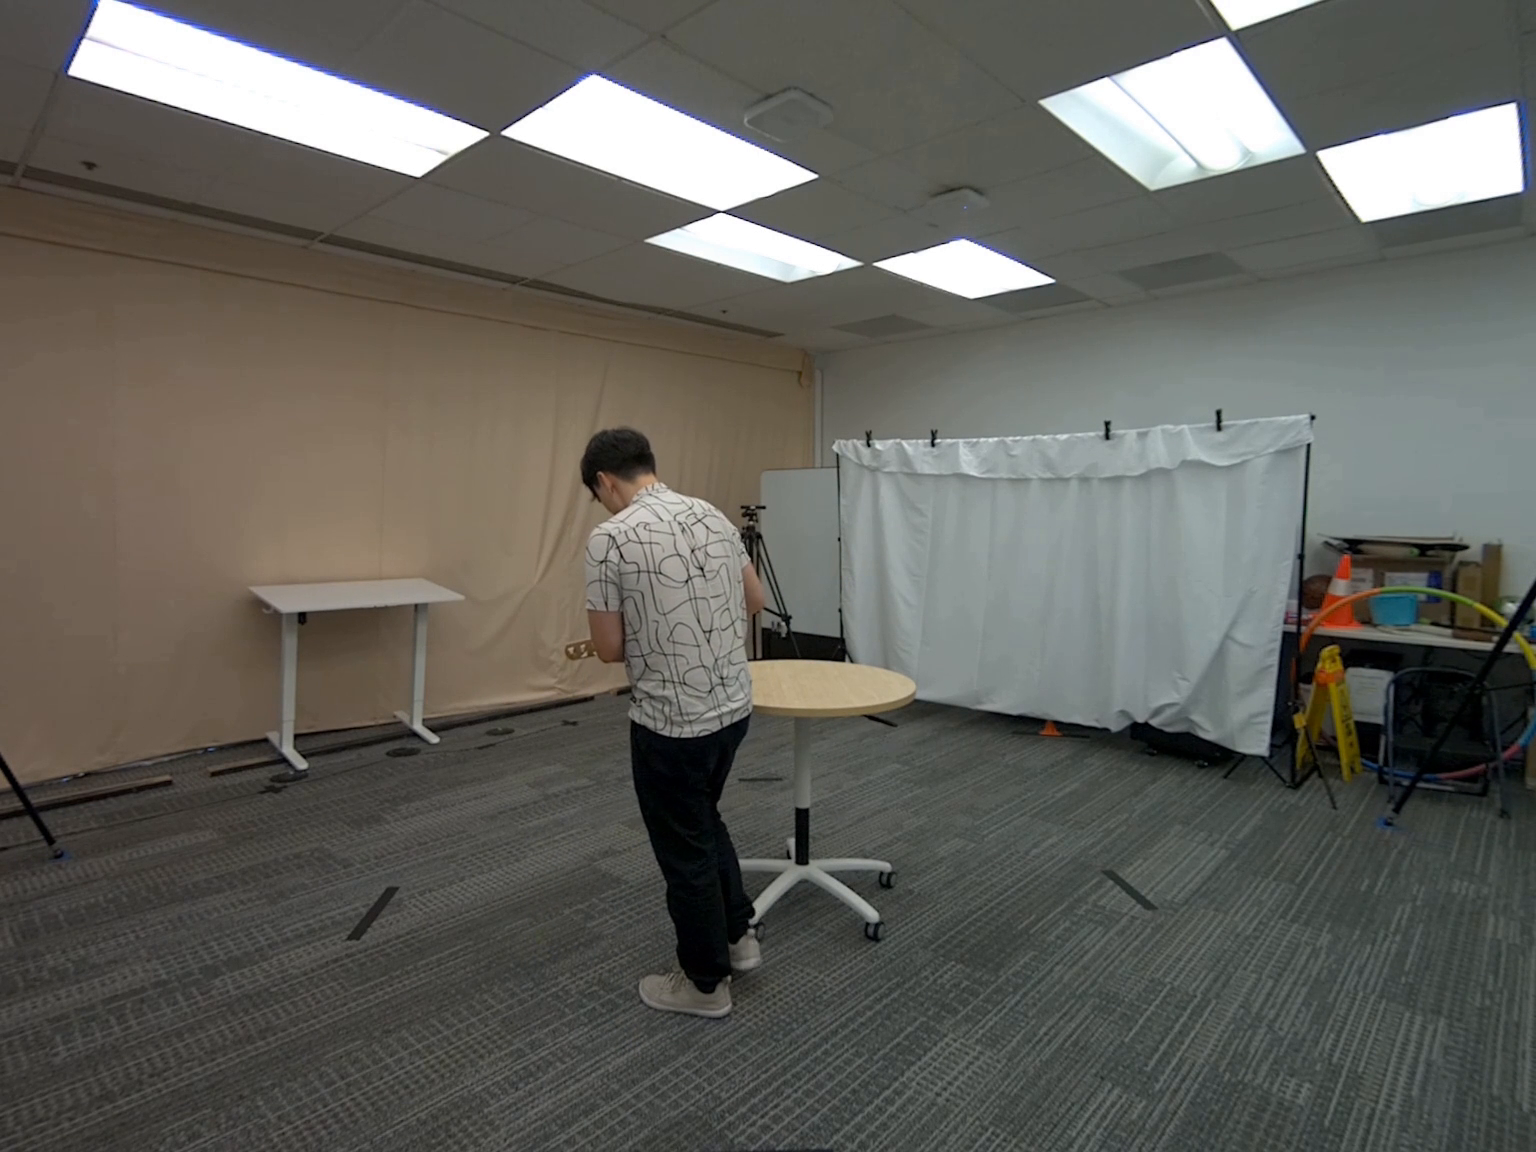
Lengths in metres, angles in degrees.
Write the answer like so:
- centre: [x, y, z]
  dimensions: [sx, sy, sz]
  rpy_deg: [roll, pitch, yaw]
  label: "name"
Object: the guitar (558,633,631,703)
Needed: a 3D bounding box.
- centre: [-0.352, 0.207, 2.517]
  dimensions: [0.502, 0.188, 0.072]
  rpy_deg: [-20, 33, 10]
  label: "guitar"
